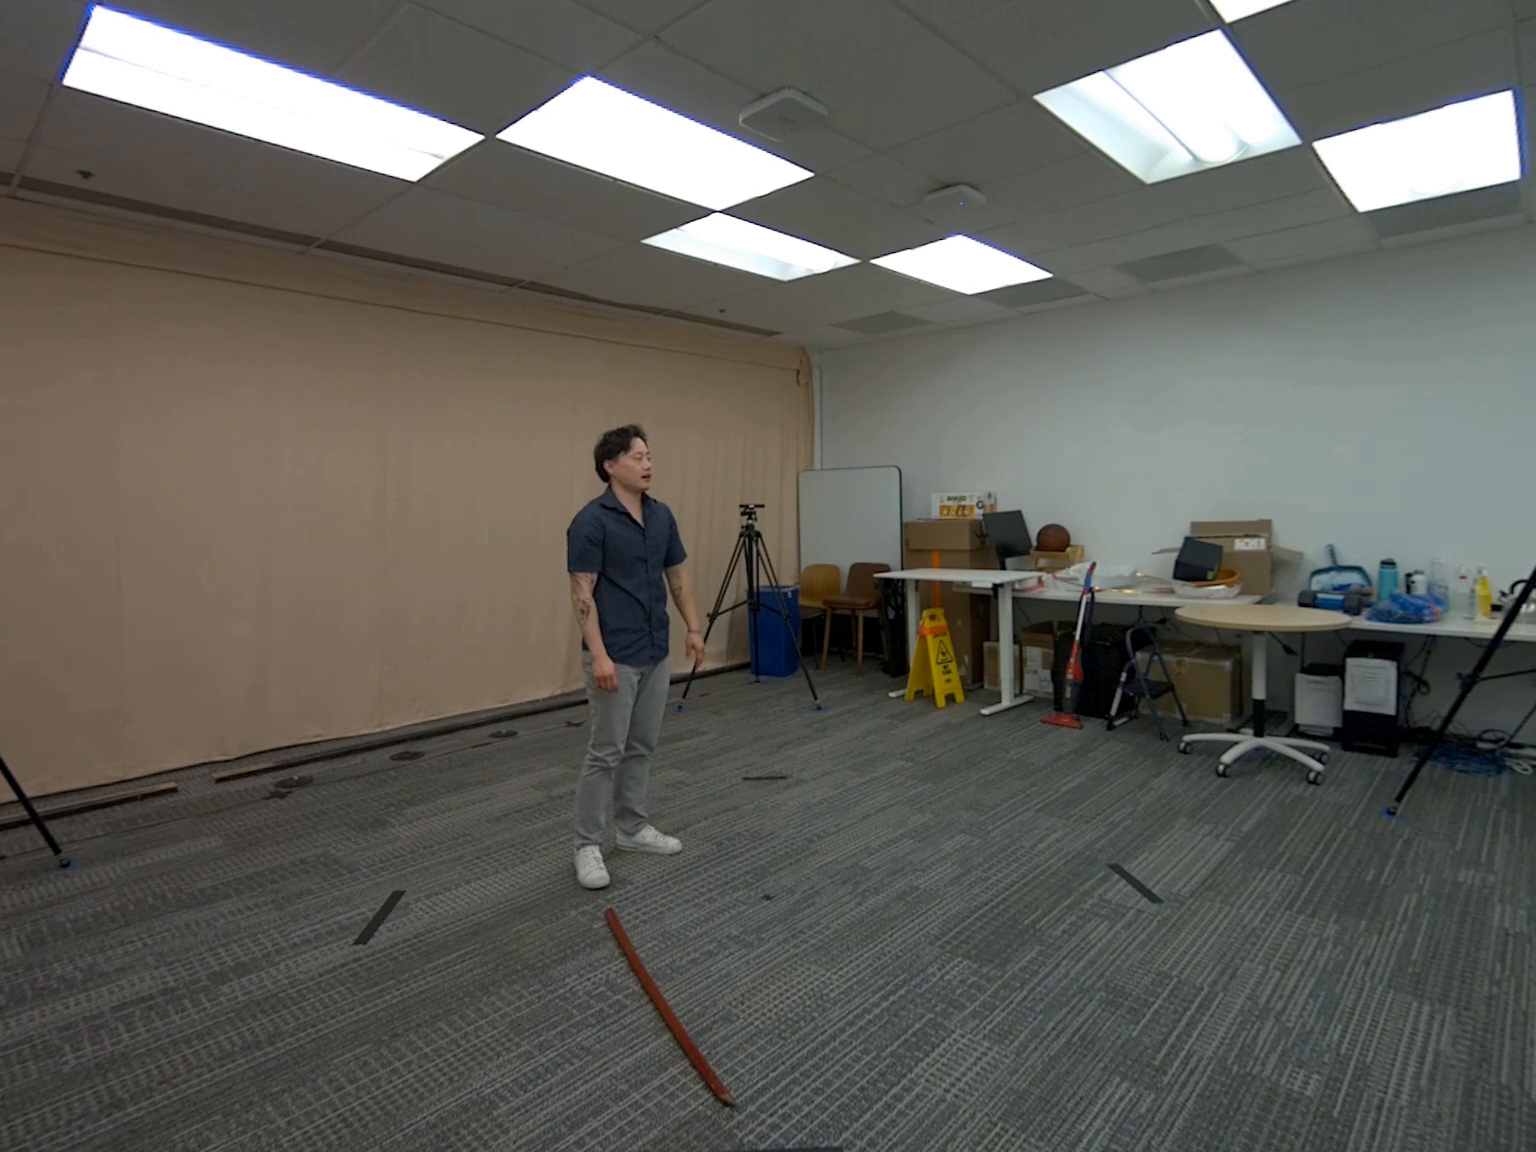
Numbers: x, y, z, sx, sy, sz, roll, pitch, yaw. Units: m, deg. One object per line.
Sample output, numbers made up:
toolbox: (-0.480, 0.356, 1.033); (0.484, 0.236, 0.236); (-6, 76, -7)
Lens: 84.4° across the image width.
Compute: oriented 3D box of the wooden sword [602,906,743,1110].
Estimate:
wooden sword: (-0.314, 1.176, 2.423); (0.050, 0.024, 1.051); (6, 1, -26)
